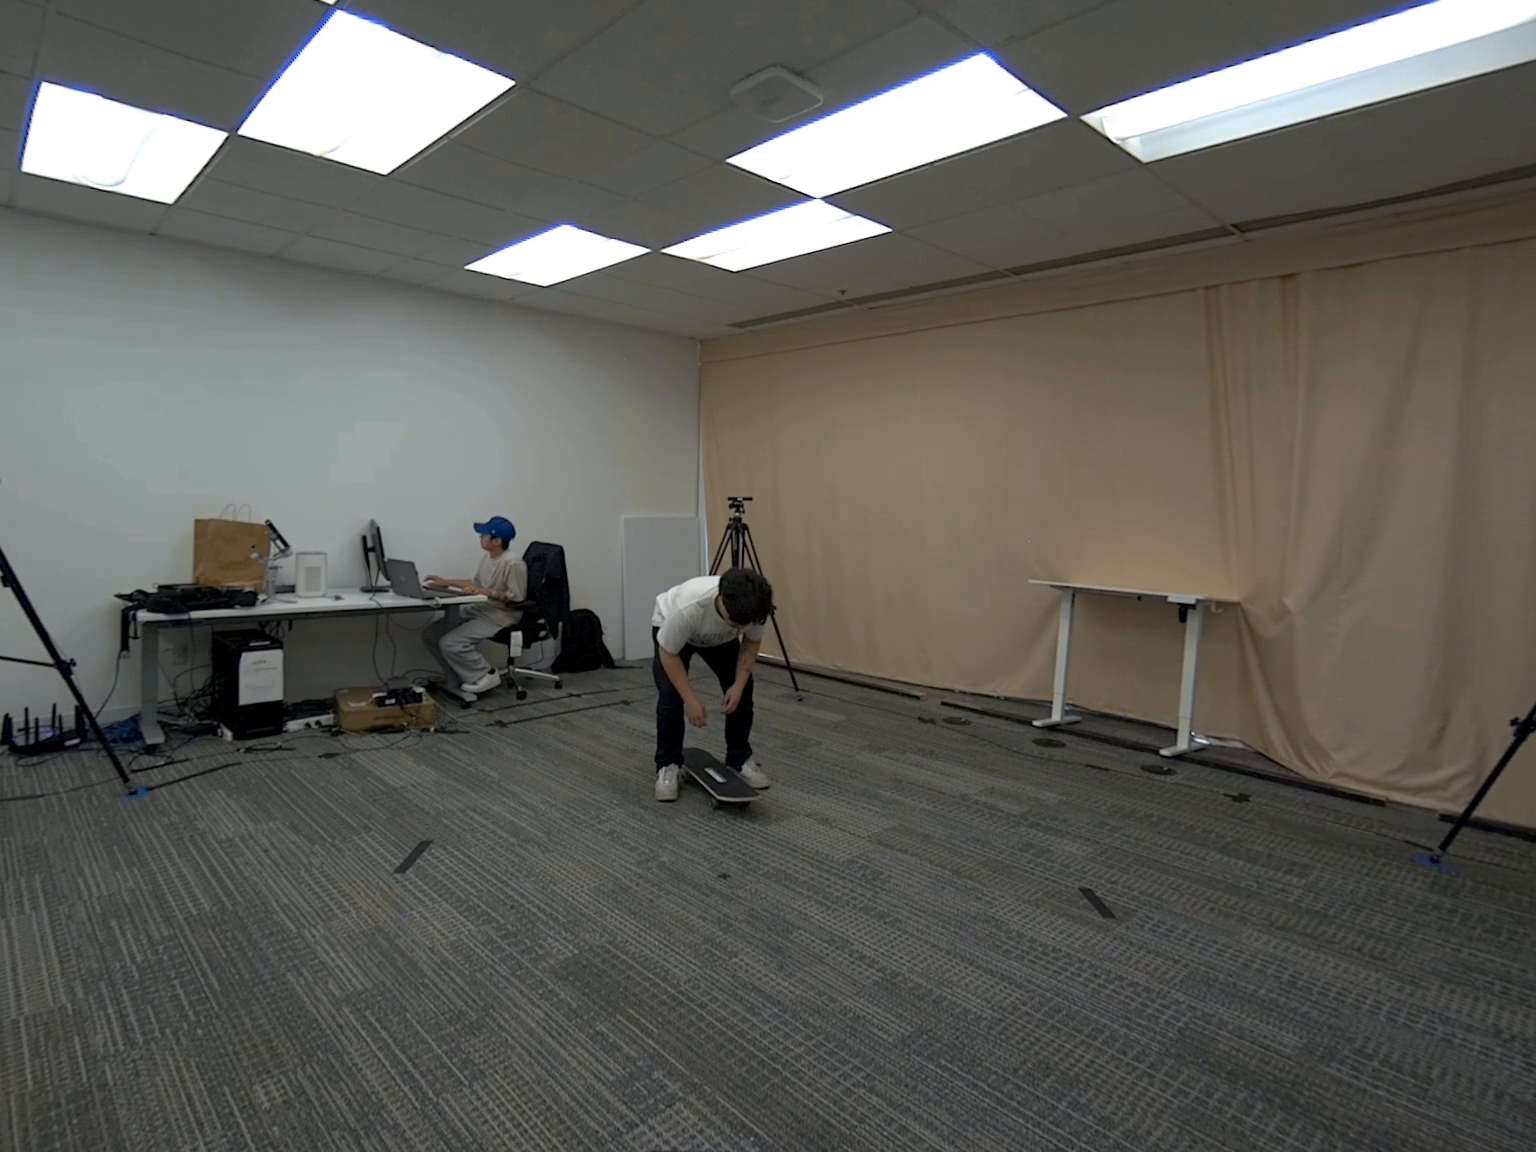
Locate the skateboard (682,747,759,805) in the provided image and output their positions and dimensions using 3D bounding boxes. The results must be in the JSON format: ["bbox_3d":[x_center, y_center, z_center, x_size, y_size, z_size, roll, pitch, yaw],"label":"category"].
[{"bbox_3d":[-0.271,0.978,4.000,0.190,0.110,0.801,-1,5,-24],"label":"skateboard"}]
